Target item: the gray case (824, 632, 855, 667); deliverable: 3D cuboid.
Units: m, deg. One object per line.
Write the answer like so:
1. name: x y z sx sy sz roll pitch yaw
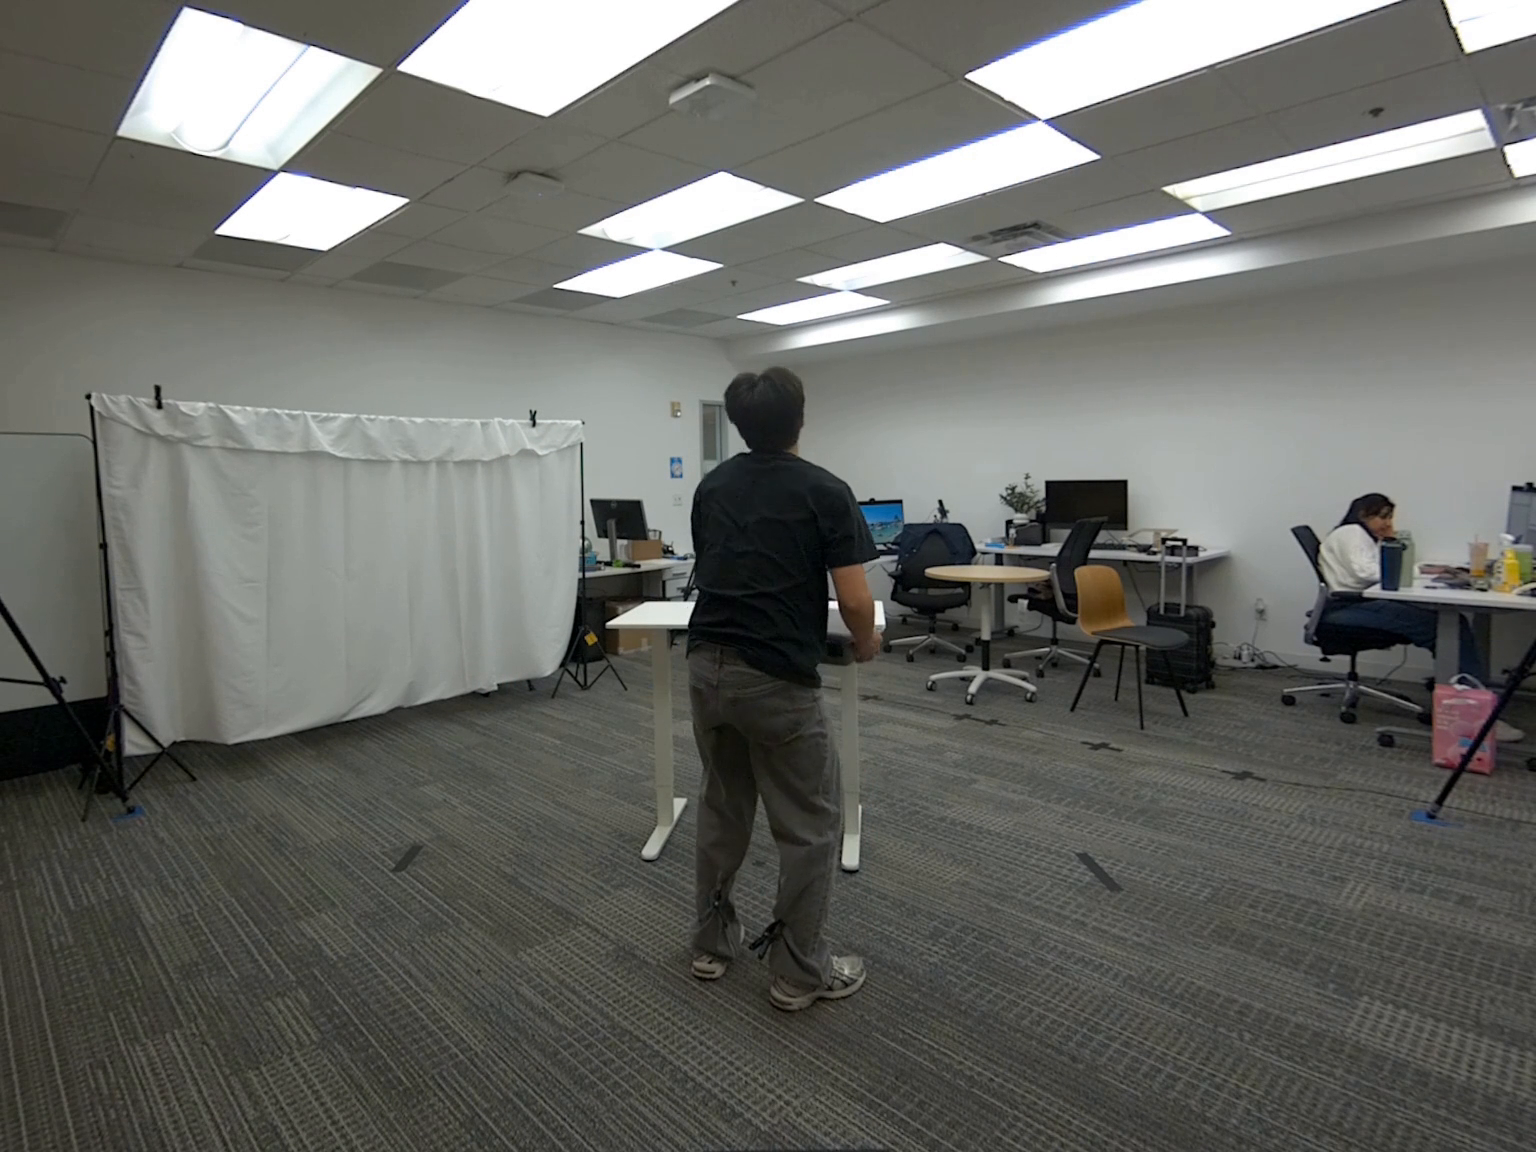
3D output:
1. gray case: 0.179 0.198 2.600 0.270 0.102 0.283 2 14 29
